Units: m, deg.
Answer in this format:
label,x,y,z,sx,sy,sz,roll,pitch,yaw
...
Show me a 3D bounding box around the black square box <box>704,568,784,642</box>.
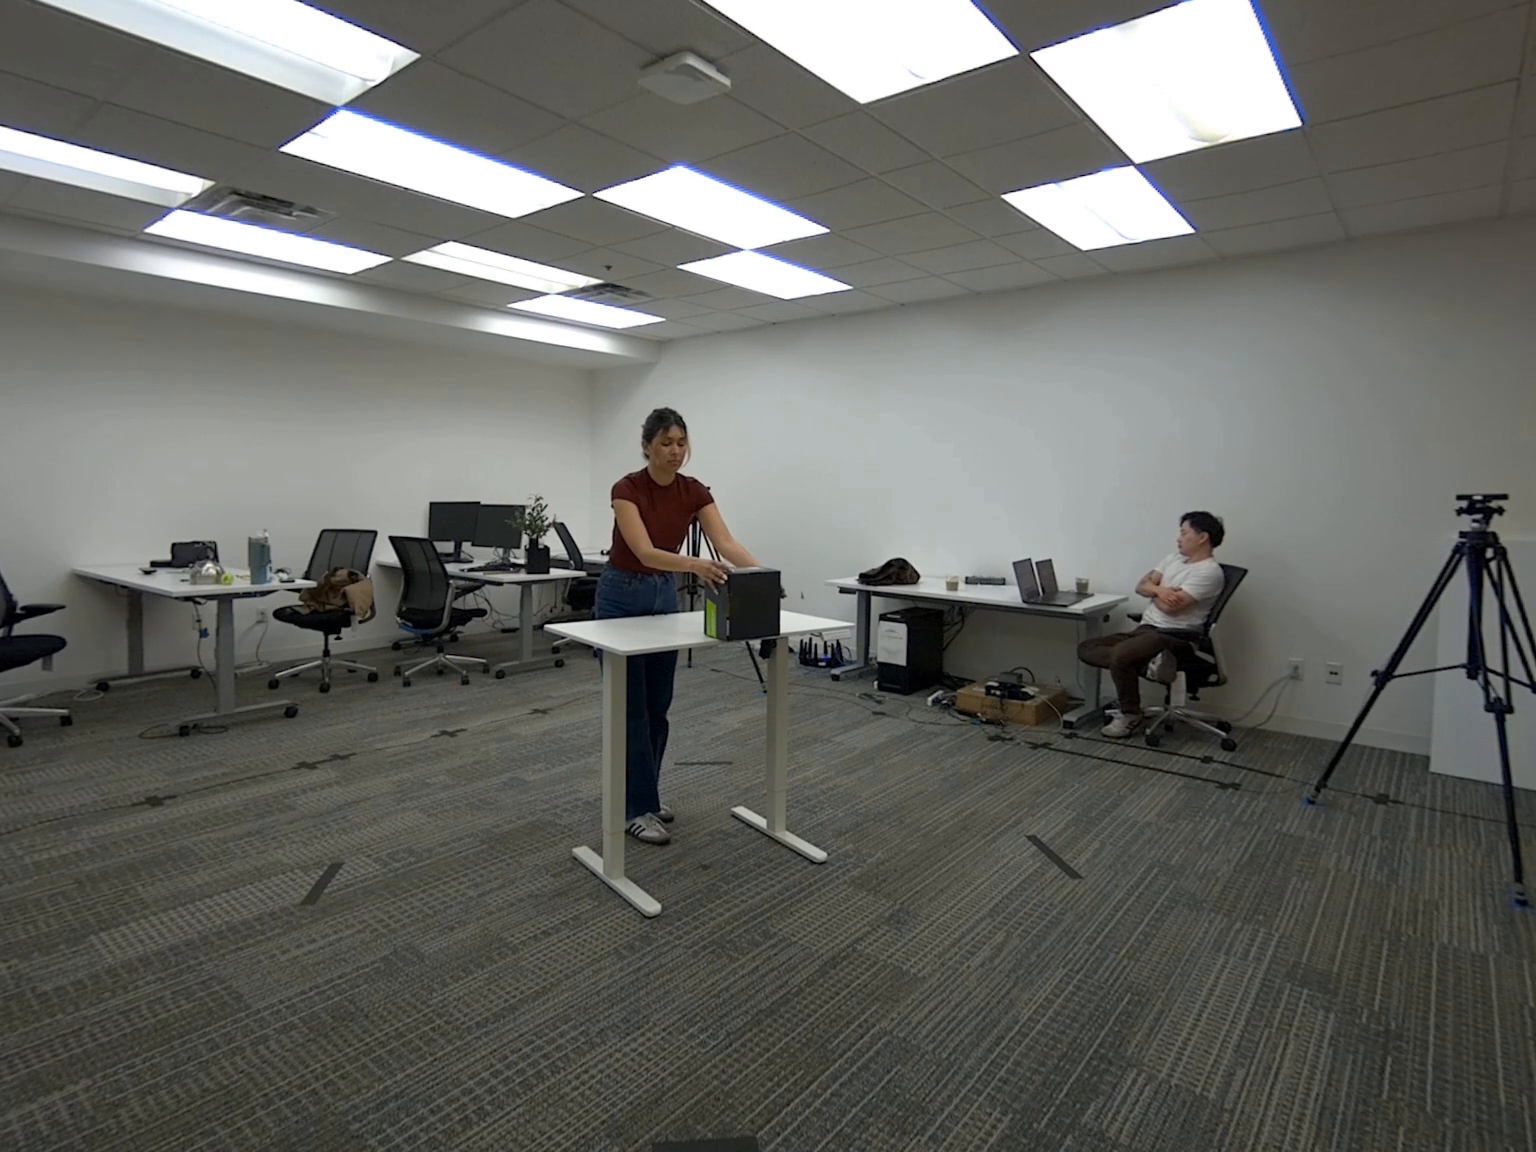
label,x,y,z,sx,sy,sz,roll,pitch,yaw
black square box,-0.104,0.090,2.901,0.210,0.227,0.161,-2,4,-37
